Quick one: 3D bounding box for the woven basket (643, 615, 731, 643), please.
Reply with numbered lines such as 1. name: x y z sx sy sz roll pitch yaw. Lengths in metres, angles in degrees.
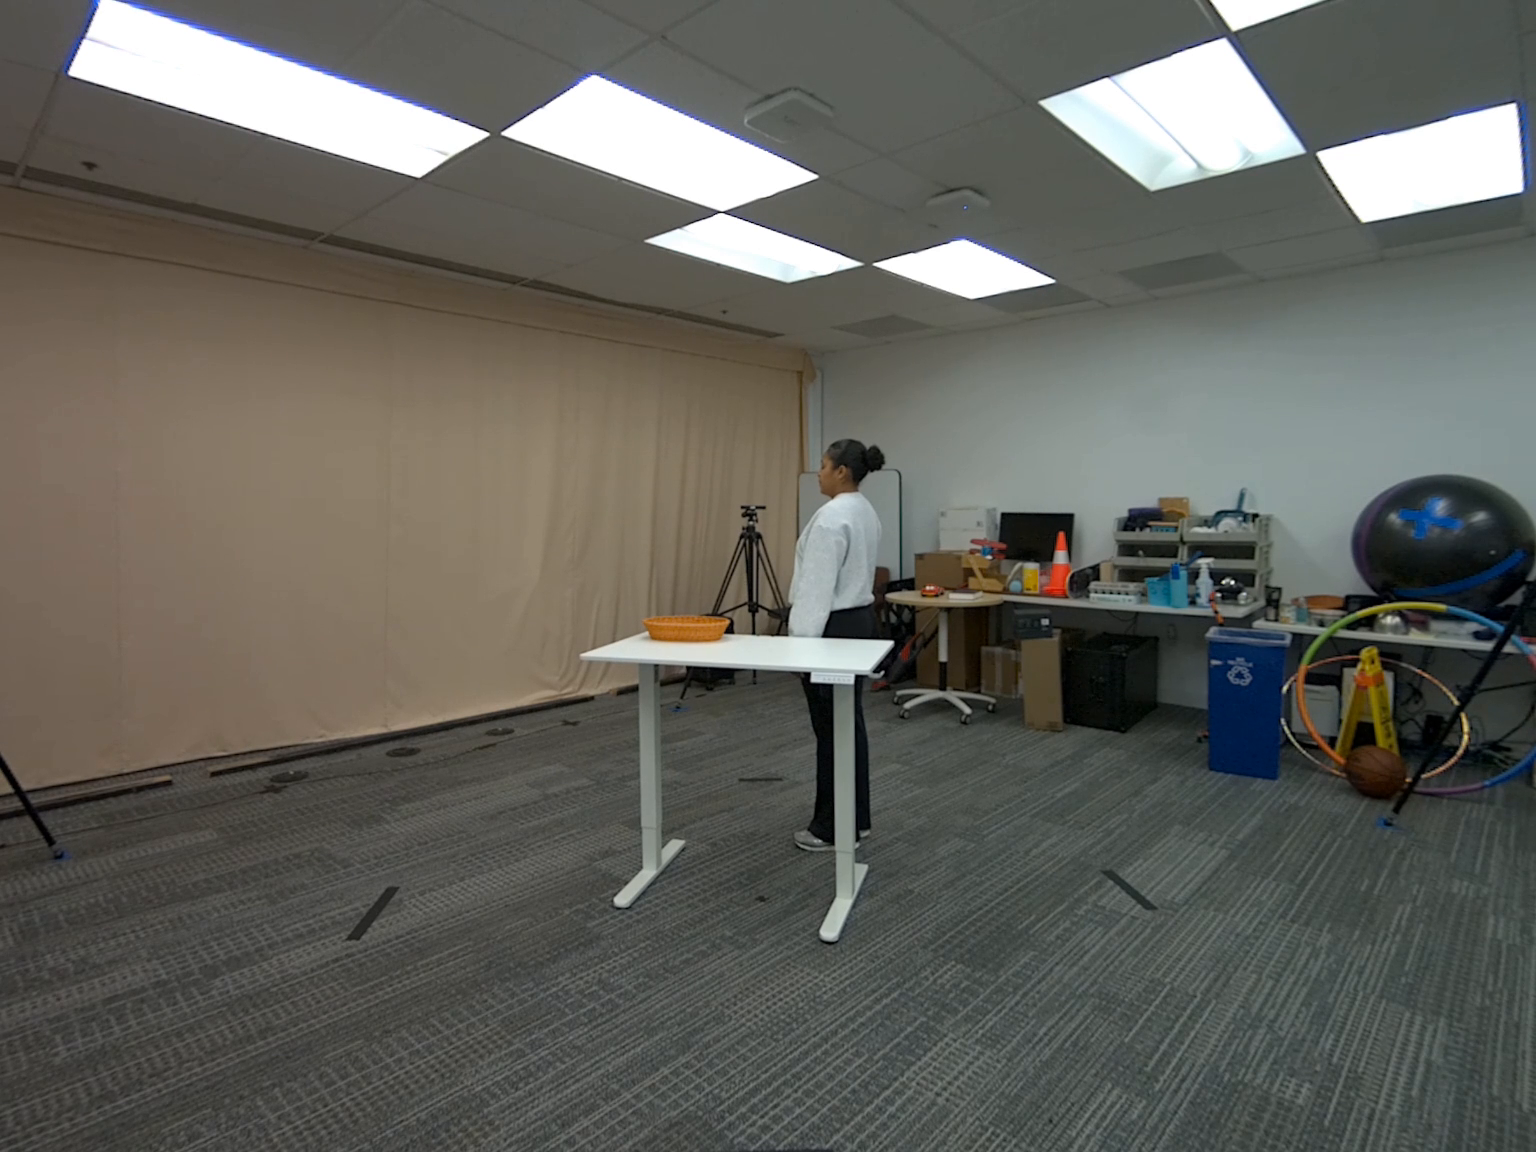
1. woven basket: -0.320 0.211 3.272 0.356 0.073 0.249 1 6 14
